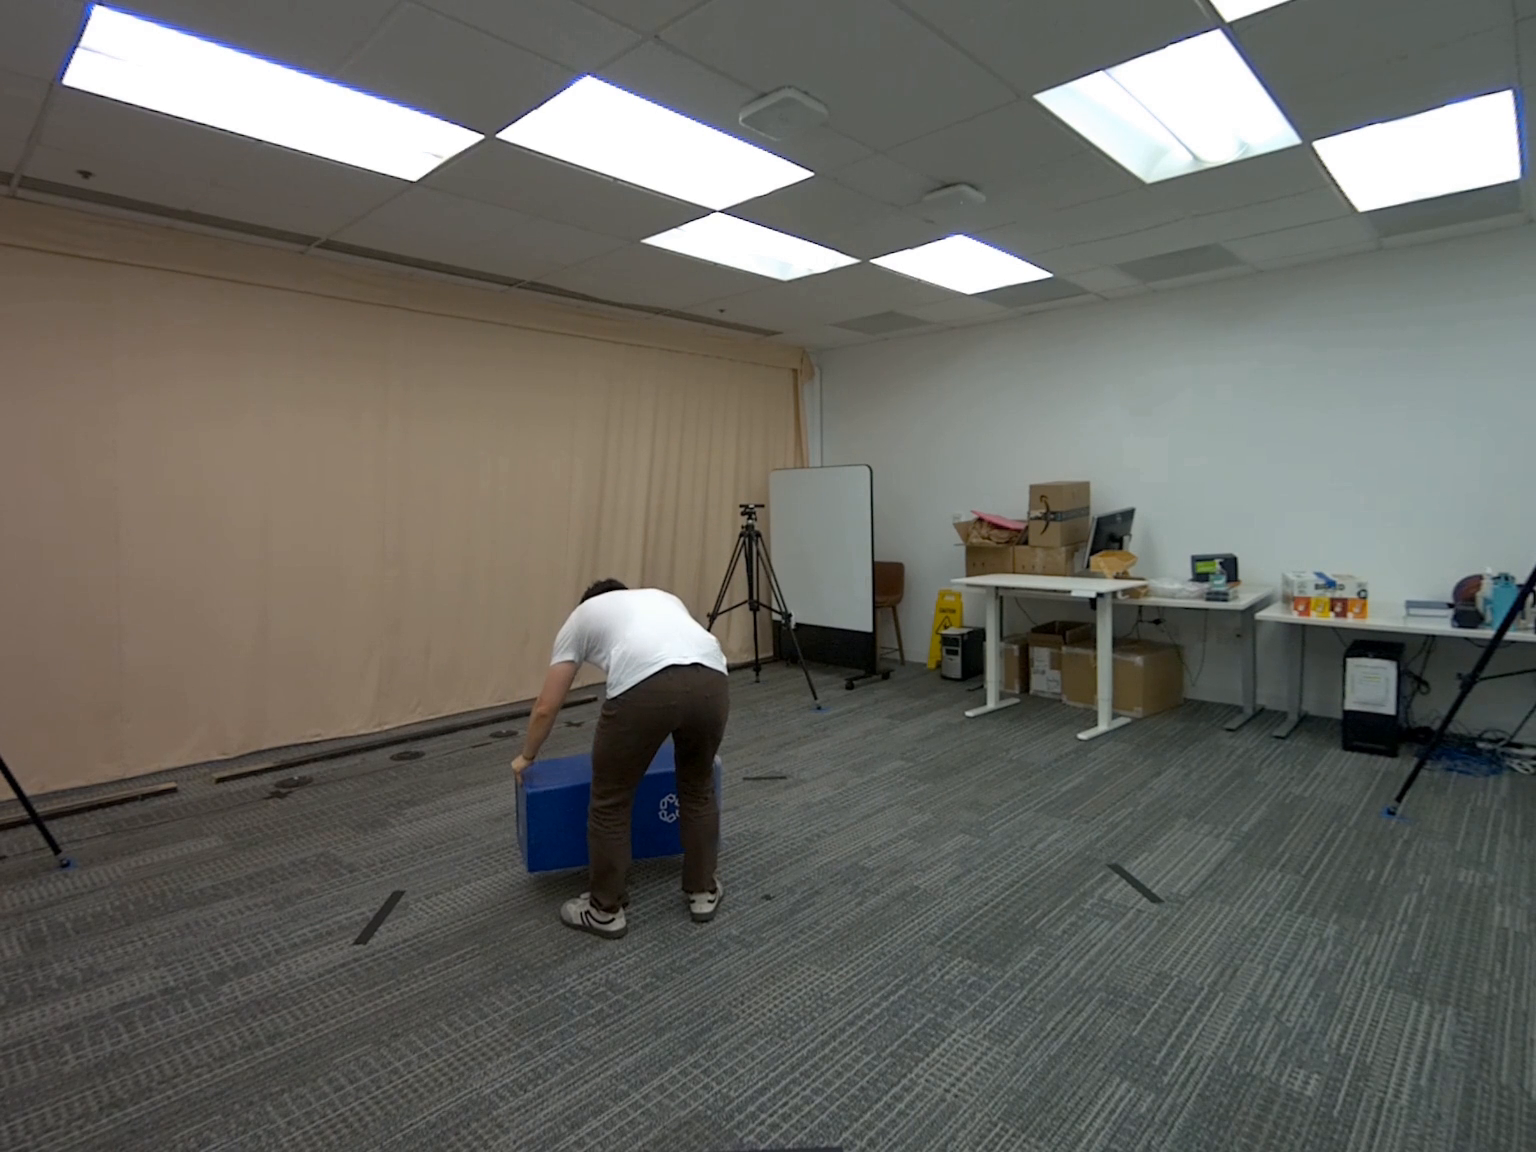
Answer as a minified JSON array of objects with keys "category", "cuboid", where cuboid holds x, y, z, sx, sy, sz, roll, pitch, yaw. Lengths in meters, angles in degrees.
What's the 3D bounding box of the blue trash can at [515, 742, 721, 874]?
[{"category":"blue trash can","cuboid":[-0.568,0.865,3.182,0.698,0.376,0.384,-3,7,-23]}]
